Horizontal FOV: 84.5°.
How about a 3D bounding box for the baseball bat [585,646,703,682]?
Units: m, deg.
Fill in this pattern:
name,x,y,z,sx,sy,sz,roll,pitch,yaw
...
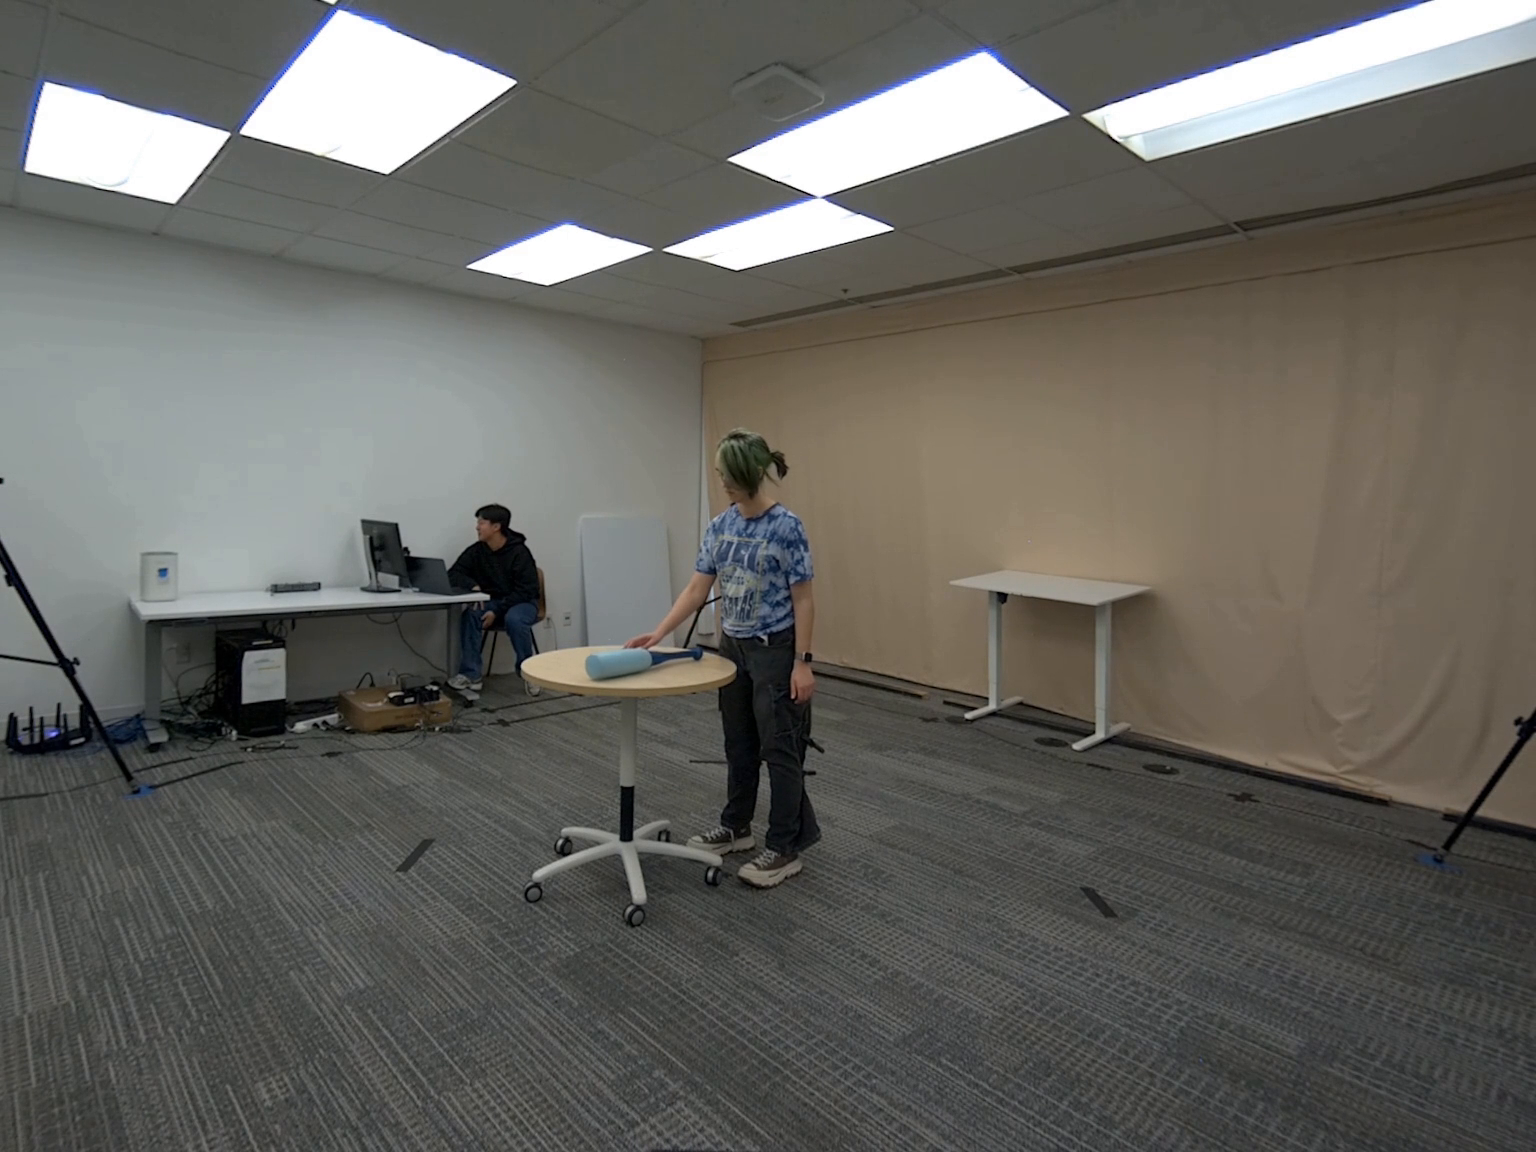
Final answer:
name,x,y,z,sx,sy,sz,roll,pitch,yaw
baseball bat,-0.422,0.295,2.941,0.091,0.089,0.530,5,3,36
